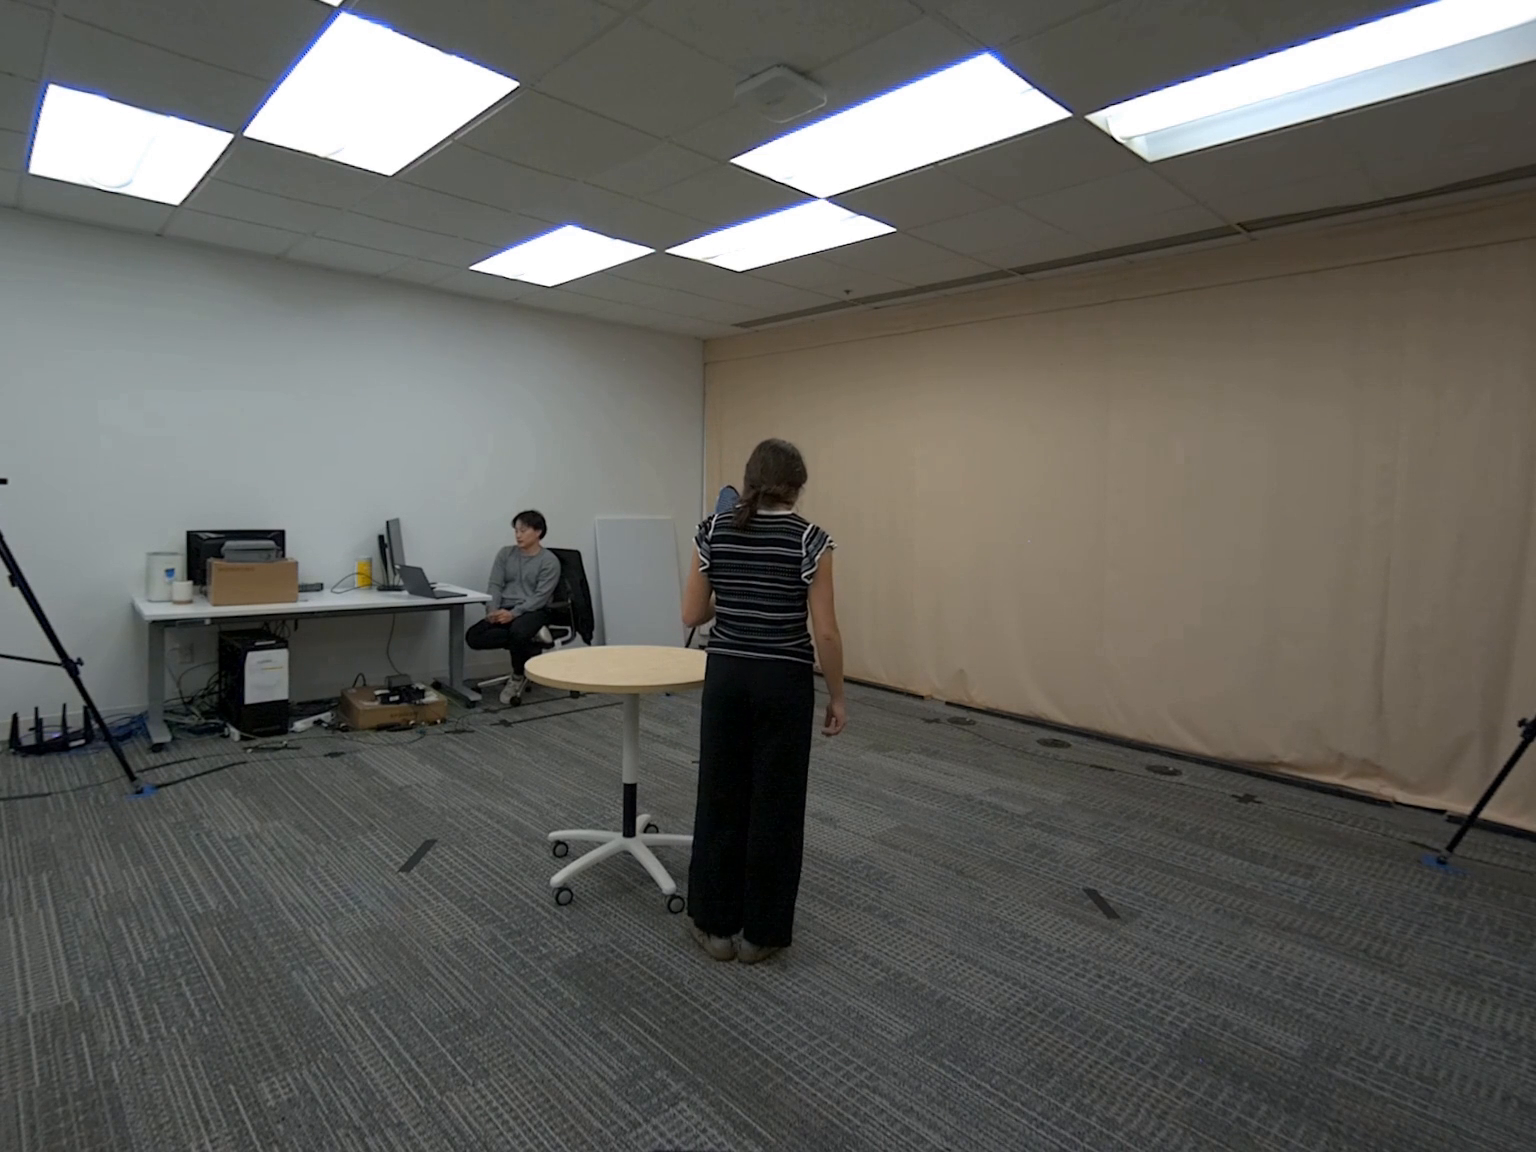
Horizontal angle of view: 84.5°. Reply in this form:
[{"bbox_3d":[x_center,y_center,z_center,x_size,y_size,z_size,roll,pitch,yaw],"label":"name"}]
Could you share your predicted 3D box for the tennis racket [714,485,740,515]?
[{"bbox_3d":[-0.128,-0.091,2.836,0.032,0.436,0.209,-5,-9,20],"label":"tennis racket"}]
